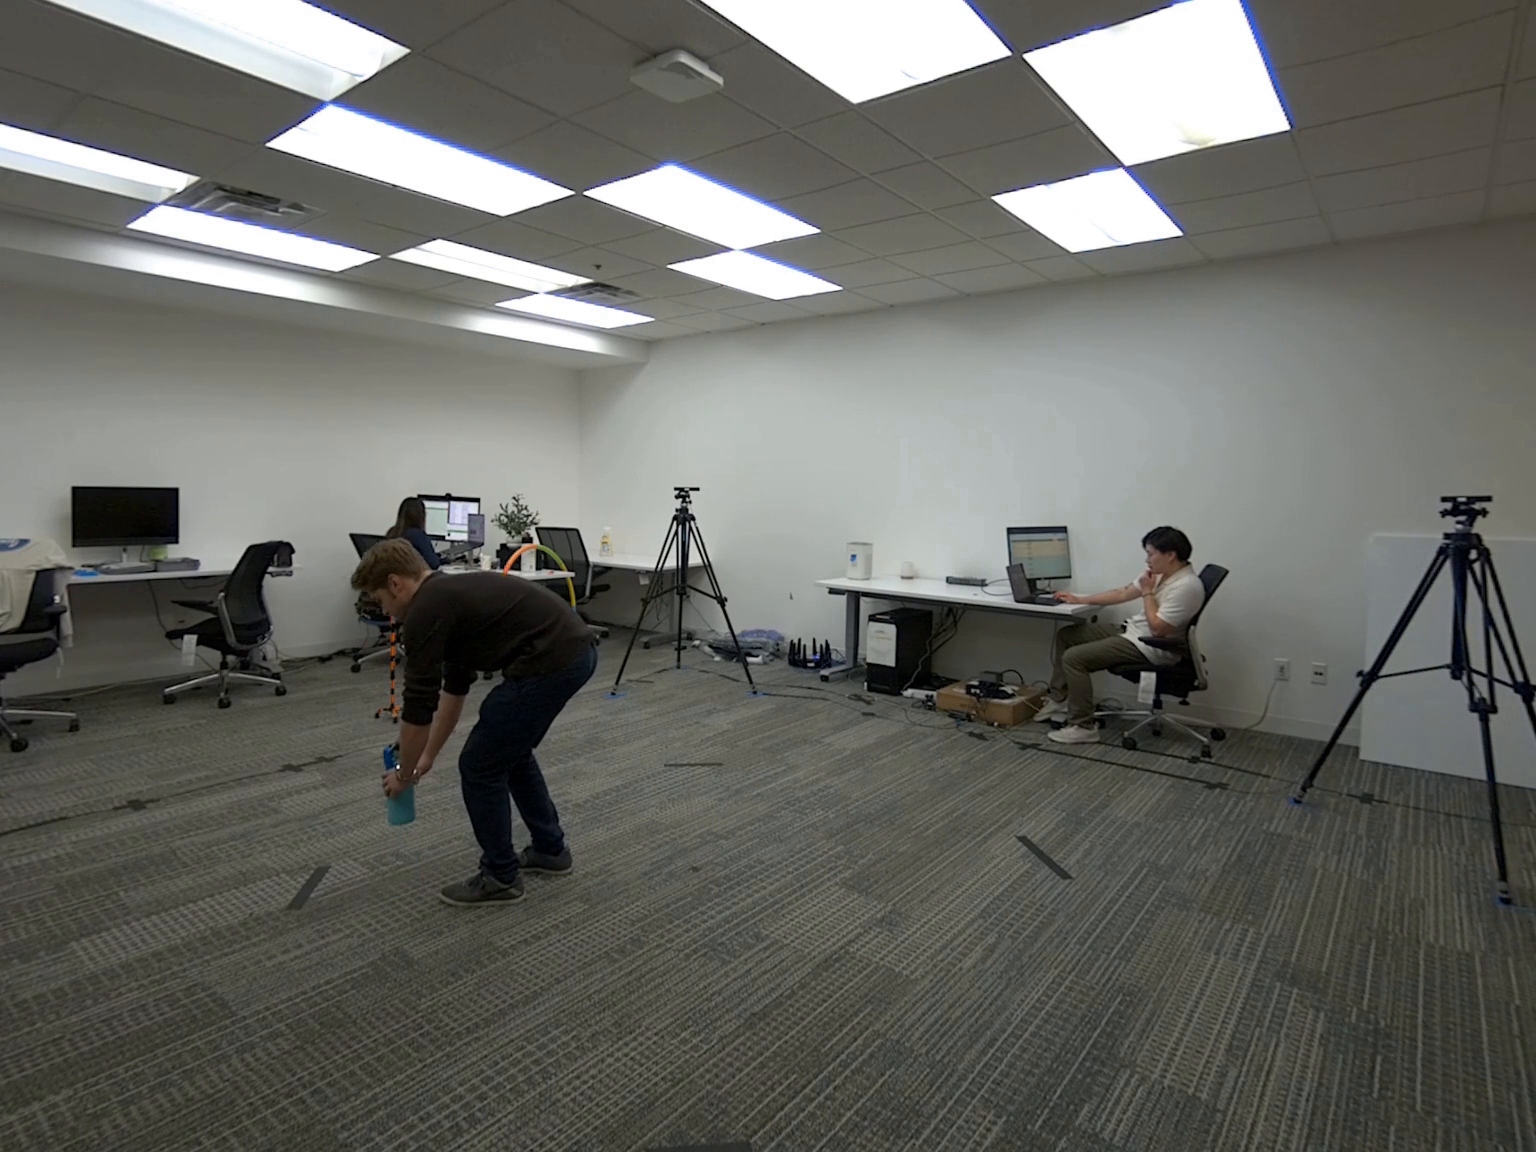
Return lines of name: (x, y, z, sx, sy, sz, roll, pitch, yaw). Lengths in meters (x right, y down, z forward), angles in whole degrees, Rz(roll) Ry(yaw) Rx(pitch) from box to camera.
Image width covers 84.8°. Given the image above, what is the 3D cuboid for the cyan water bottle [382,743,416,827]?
cyan water bottle: (-1.264, 0.699, 2.887, 0.092, 0.282, 0.093, -3, 6, -2)
